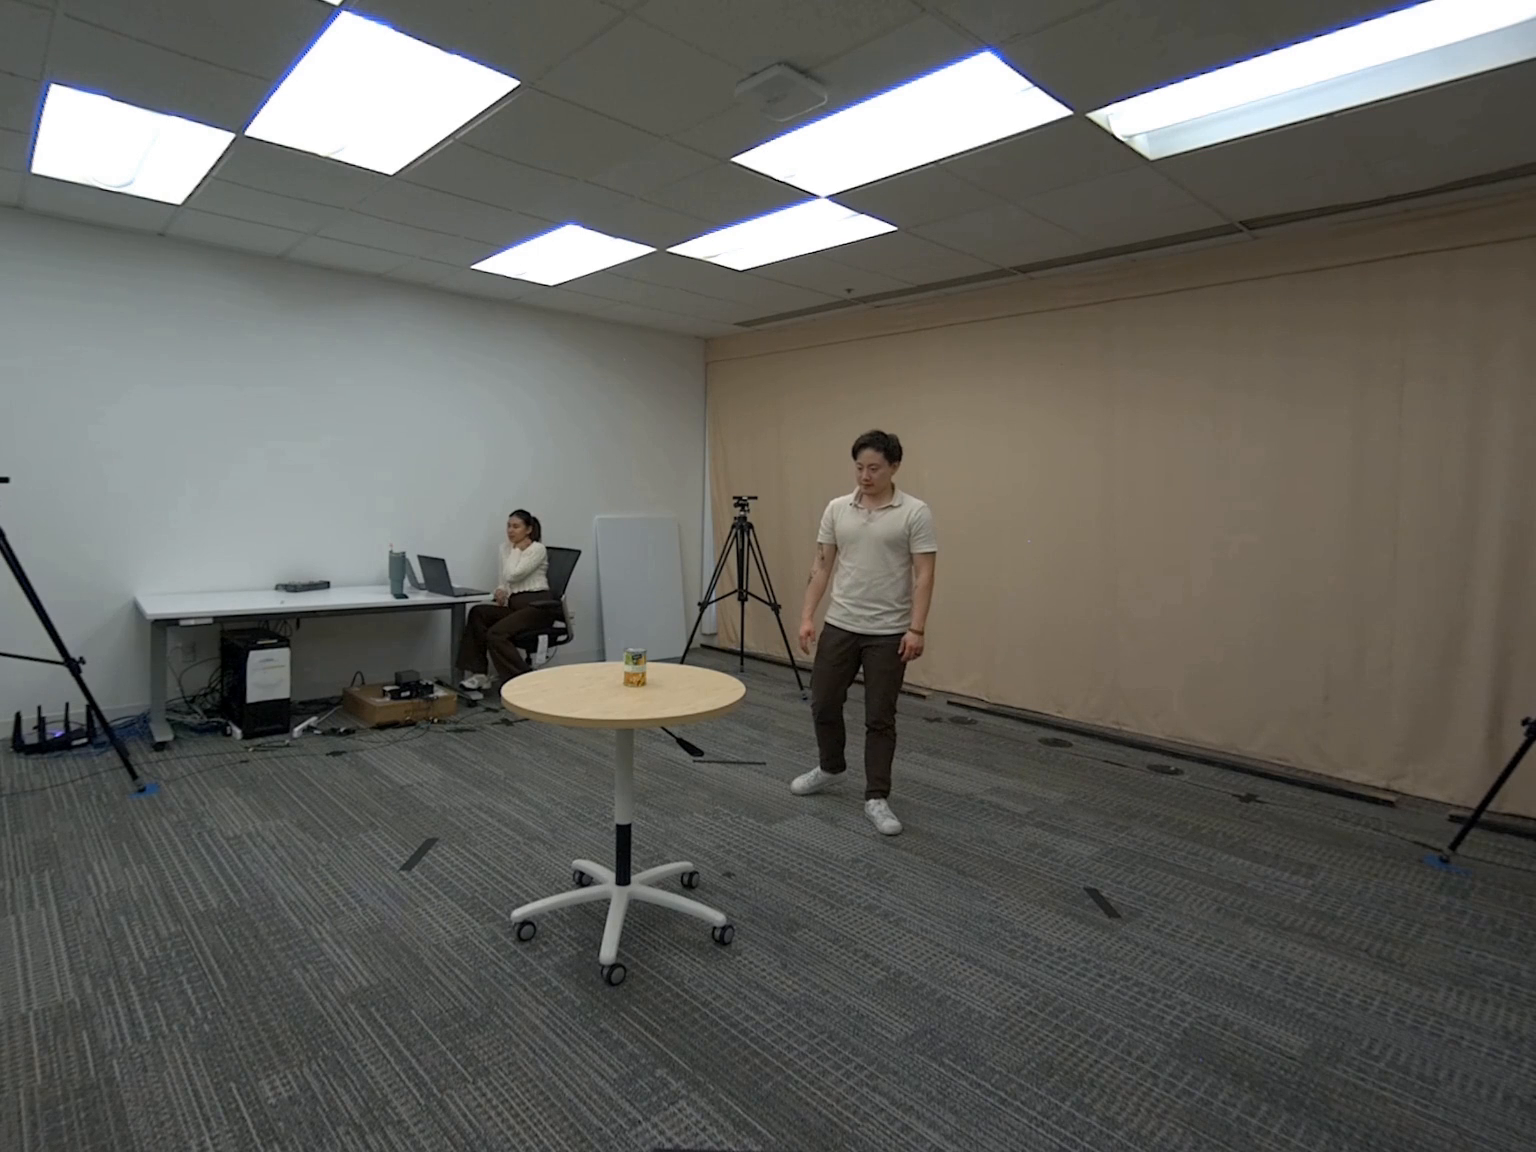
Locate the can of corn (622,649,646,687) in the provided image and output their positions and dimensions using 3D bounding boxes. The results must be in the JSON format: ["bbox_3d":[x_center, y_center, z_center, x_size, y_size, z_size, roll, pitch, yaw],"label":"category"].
[{"bbox_3d":[-0.441,0.293,2.700,0.074,0.110,0.074,1,5,-1],"label":"can of corn"}]
